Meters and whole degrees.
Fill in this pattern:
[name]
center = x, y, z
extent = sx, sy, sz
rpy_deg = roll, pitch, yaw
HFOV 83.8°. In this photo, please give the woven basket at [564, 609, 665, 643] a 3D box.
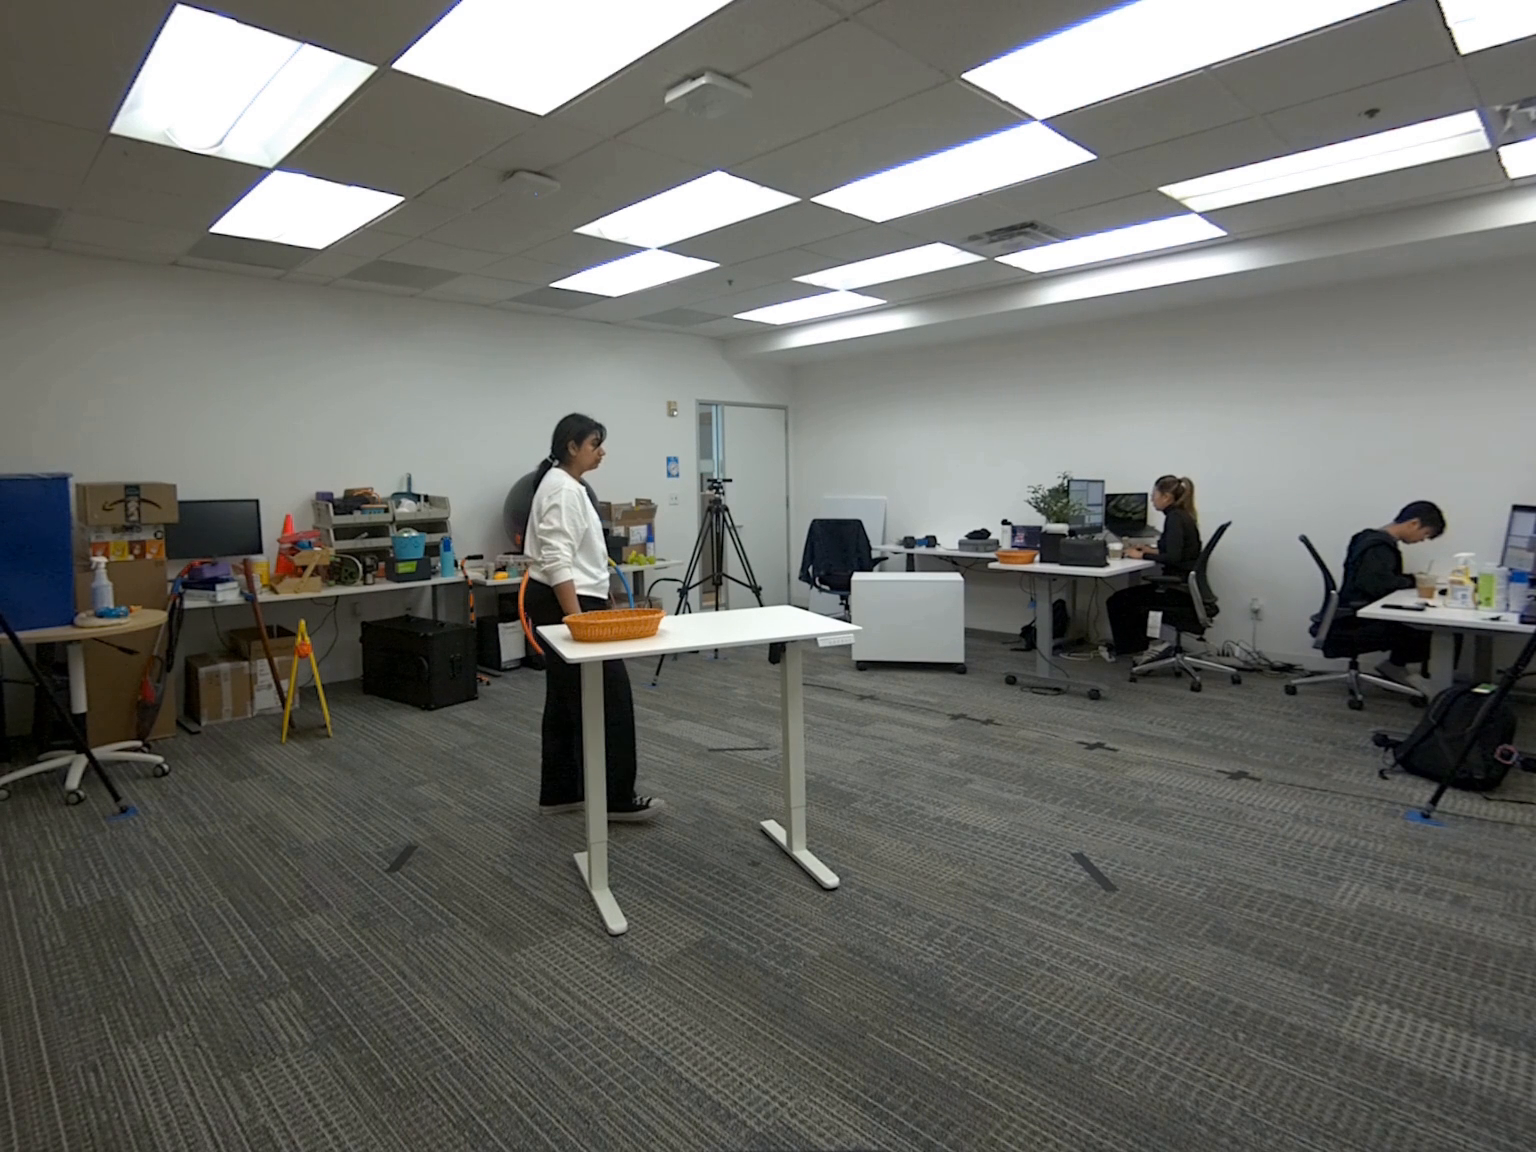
[woven basket]
center = -0.508, 0.171, 2.886
extent = 0.345, 0.073, 0.257
rpy_deg = -4, 6, -19
